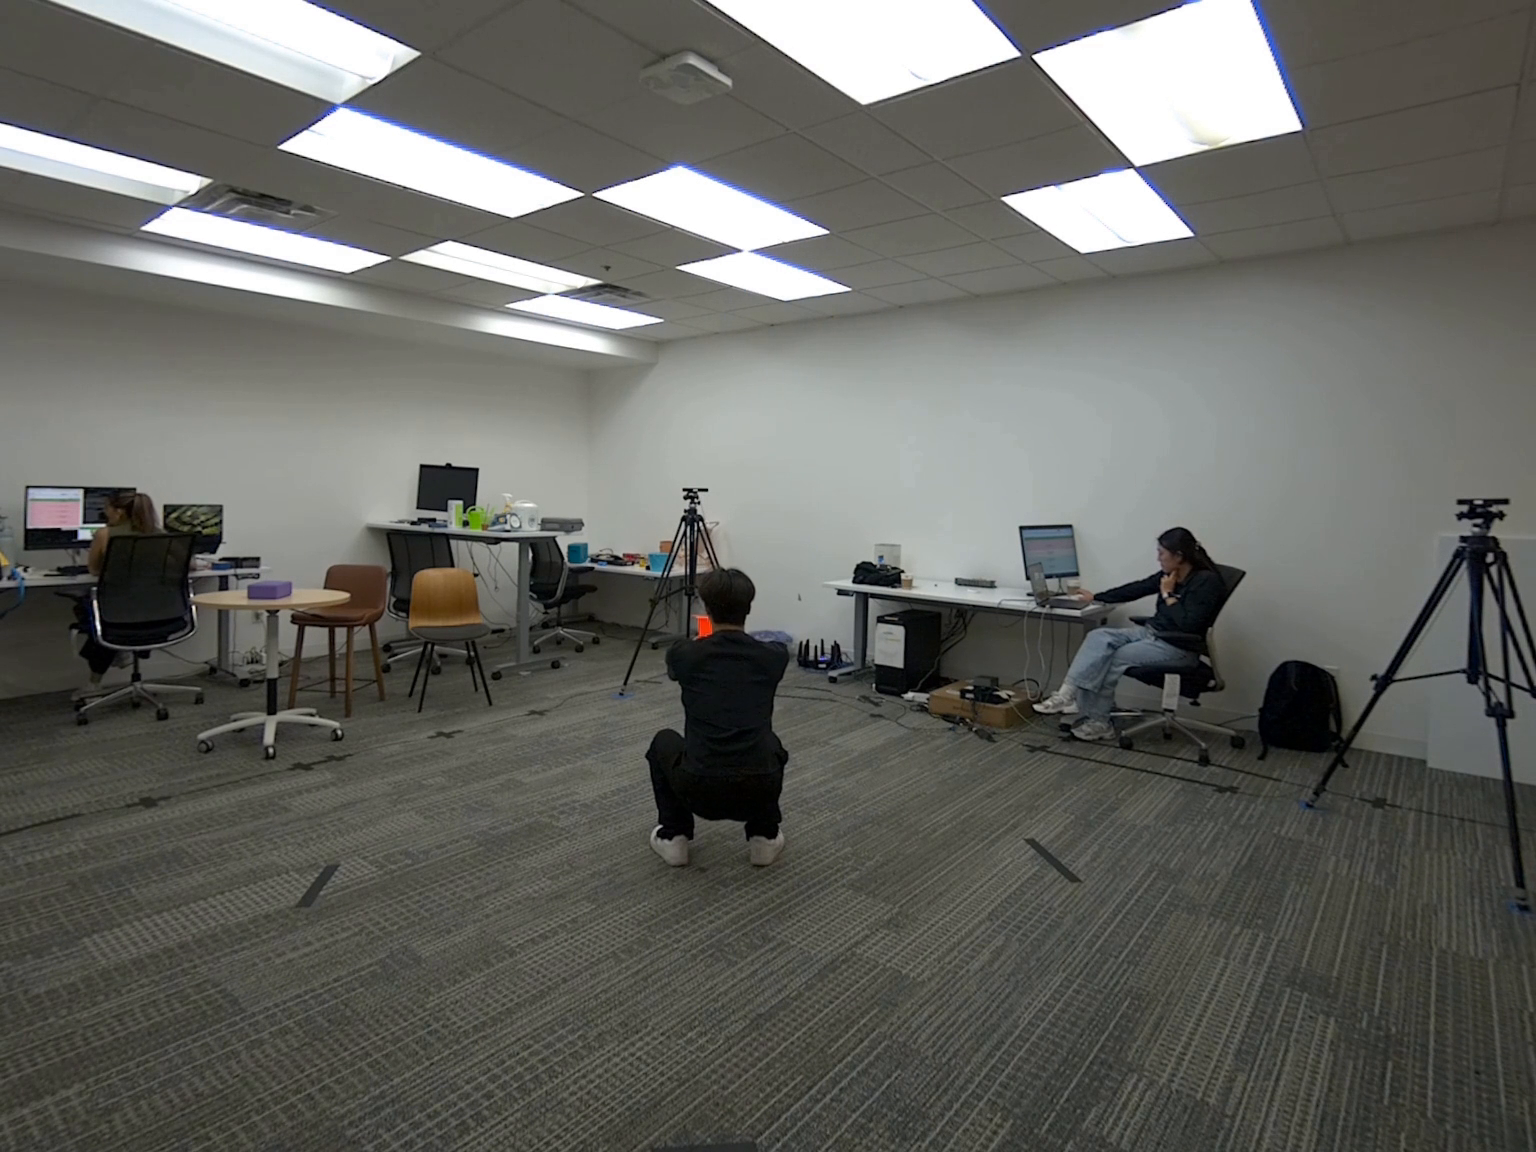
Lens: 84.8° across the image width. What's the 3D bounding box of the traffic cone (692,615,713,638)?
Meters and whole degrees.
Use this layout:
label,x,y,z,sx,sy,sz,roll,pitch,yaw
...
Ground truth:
label,x,y,z,sx,sy,sz,roll,pitch,yaw
traffic cone,-0.259,0.376,3.787,0.201,0.385,0.207,6,-4,-19
